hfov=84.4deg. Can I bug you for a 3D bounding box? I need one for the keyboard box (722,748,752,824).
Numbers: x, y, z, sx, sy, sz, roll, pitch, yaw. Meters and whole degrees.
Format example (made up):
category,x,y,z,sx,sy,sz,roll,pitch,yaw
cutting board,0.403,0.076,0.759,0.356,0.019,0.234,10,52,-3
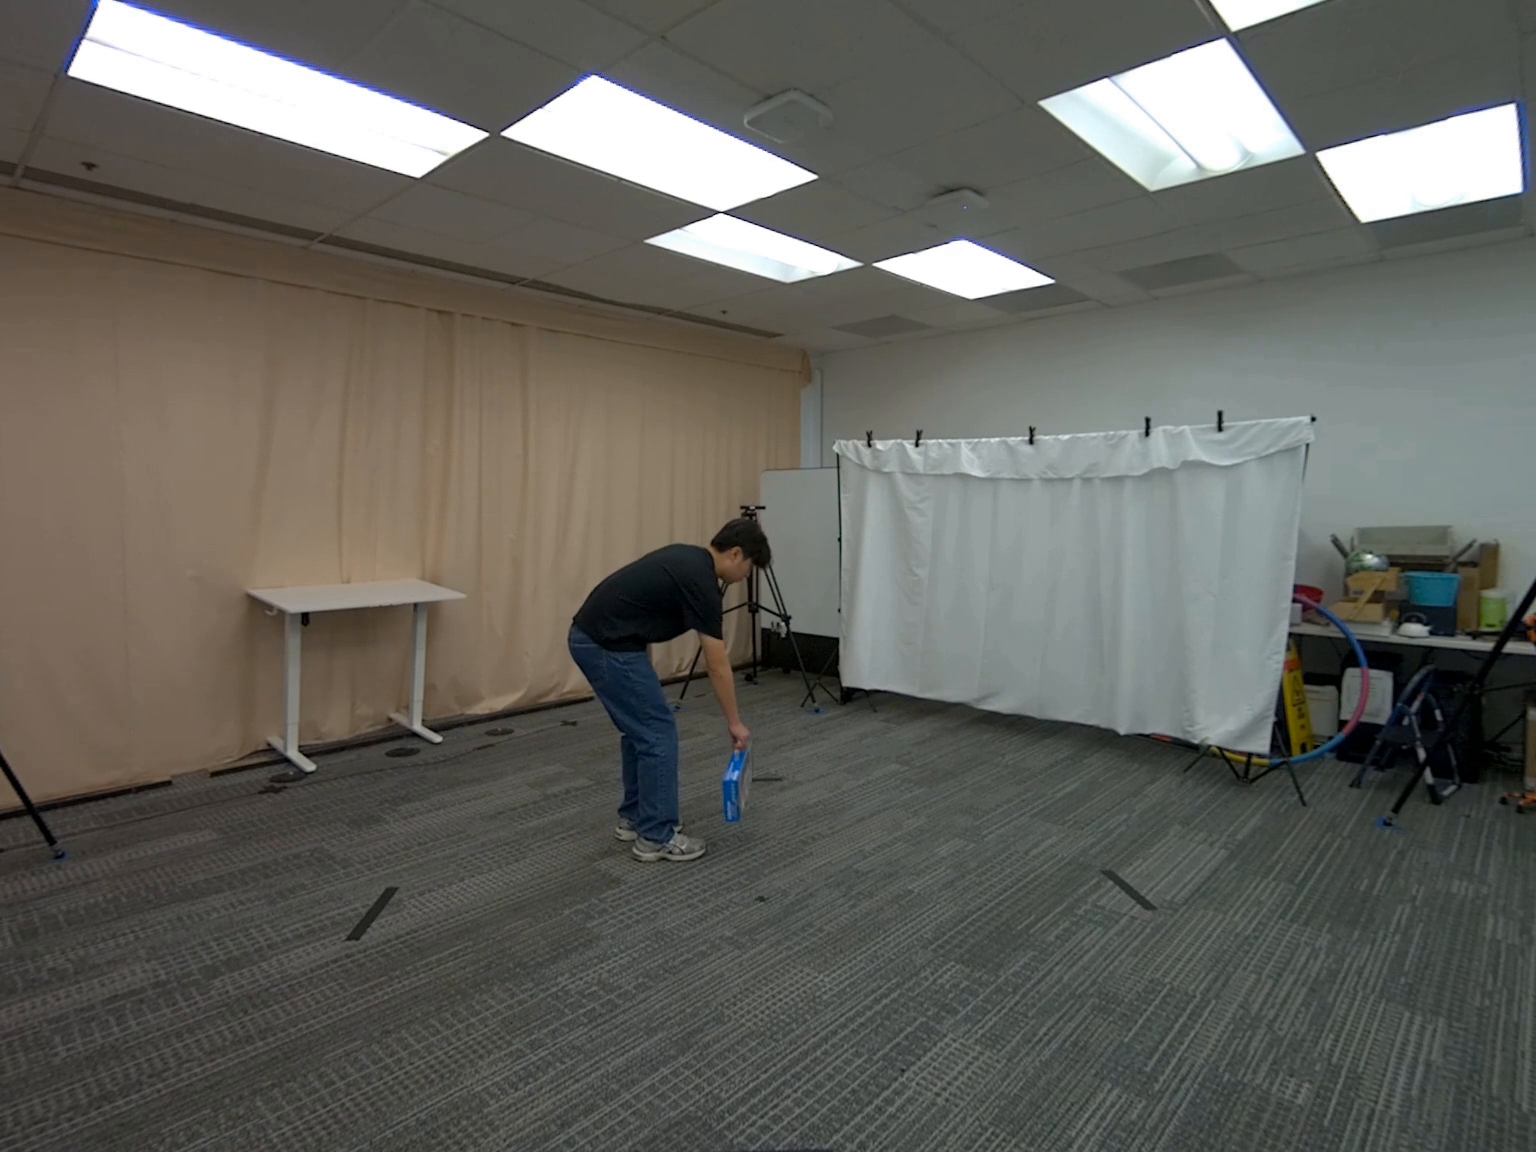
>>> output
category,x,y,z,sx,sy,sz,roll,pitch,yaw
keyboard box,-0.117,0.813,3.428,0.059,0.175,0.436,-2,11,6
